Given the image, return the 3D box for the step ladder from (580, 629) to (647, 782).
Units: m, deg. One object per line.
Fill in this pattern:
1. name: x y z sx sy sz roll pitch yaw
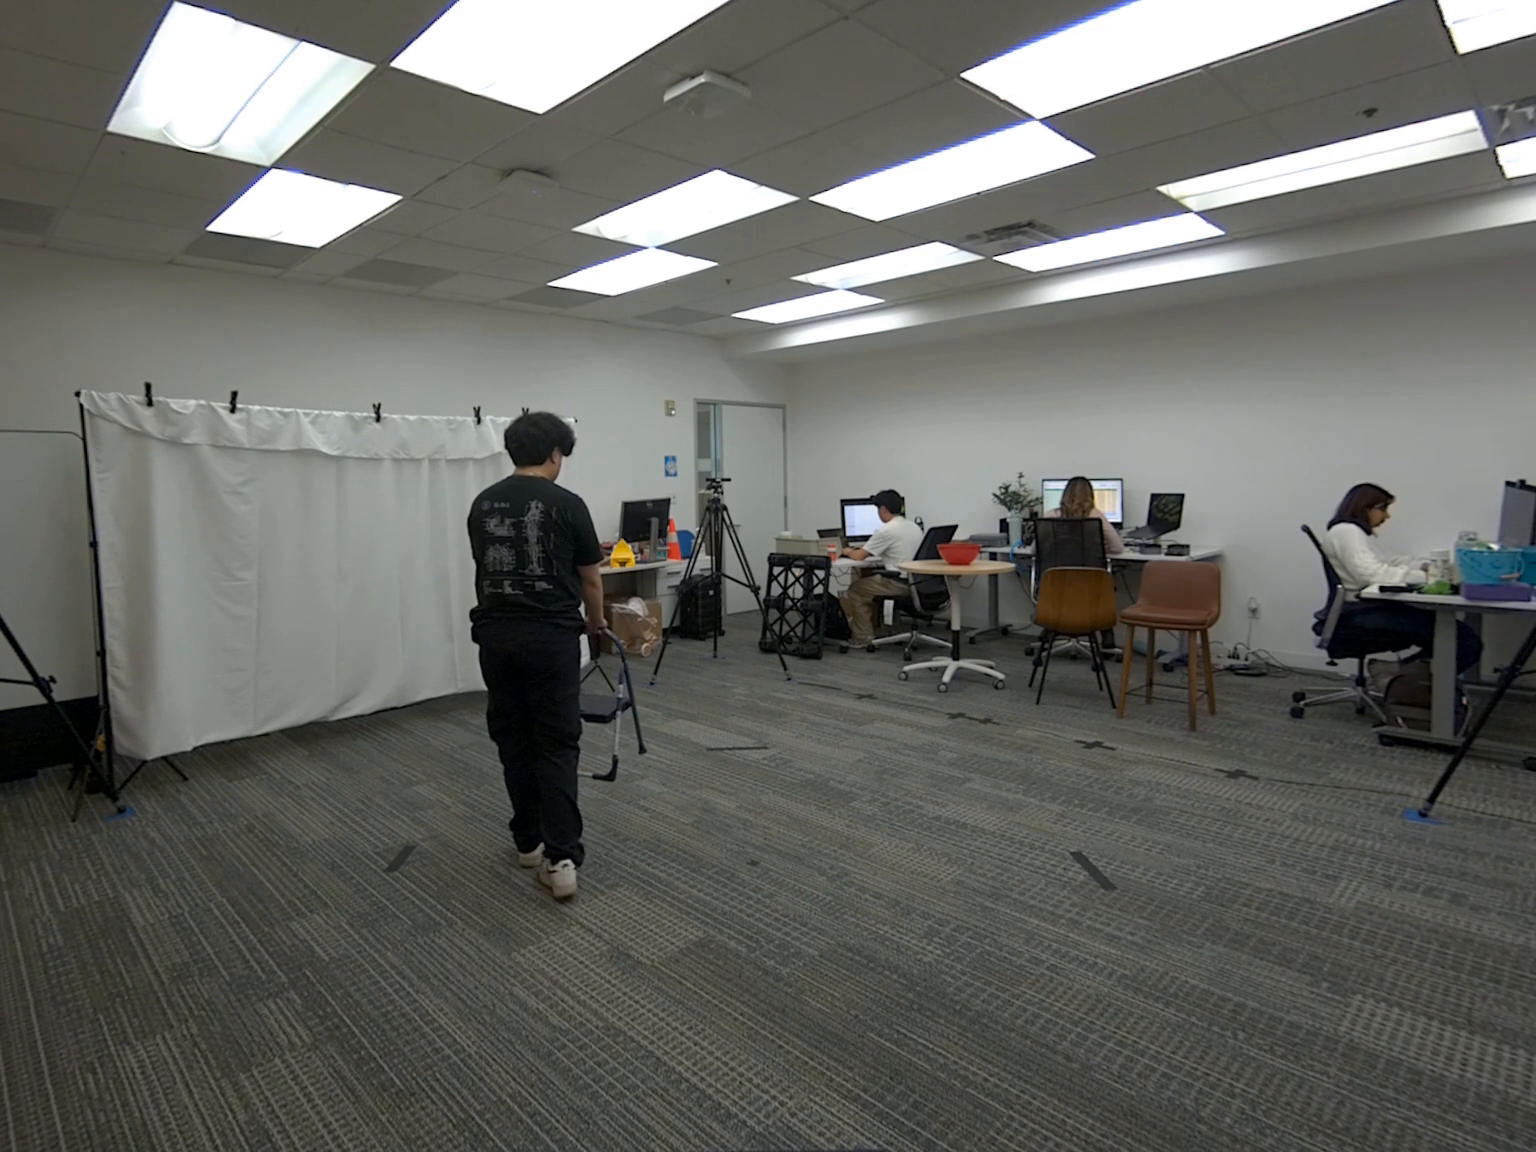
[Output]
1. step ladder: -0.761 0.478 3.503 0.437 0.602 0.347 1 7 14
